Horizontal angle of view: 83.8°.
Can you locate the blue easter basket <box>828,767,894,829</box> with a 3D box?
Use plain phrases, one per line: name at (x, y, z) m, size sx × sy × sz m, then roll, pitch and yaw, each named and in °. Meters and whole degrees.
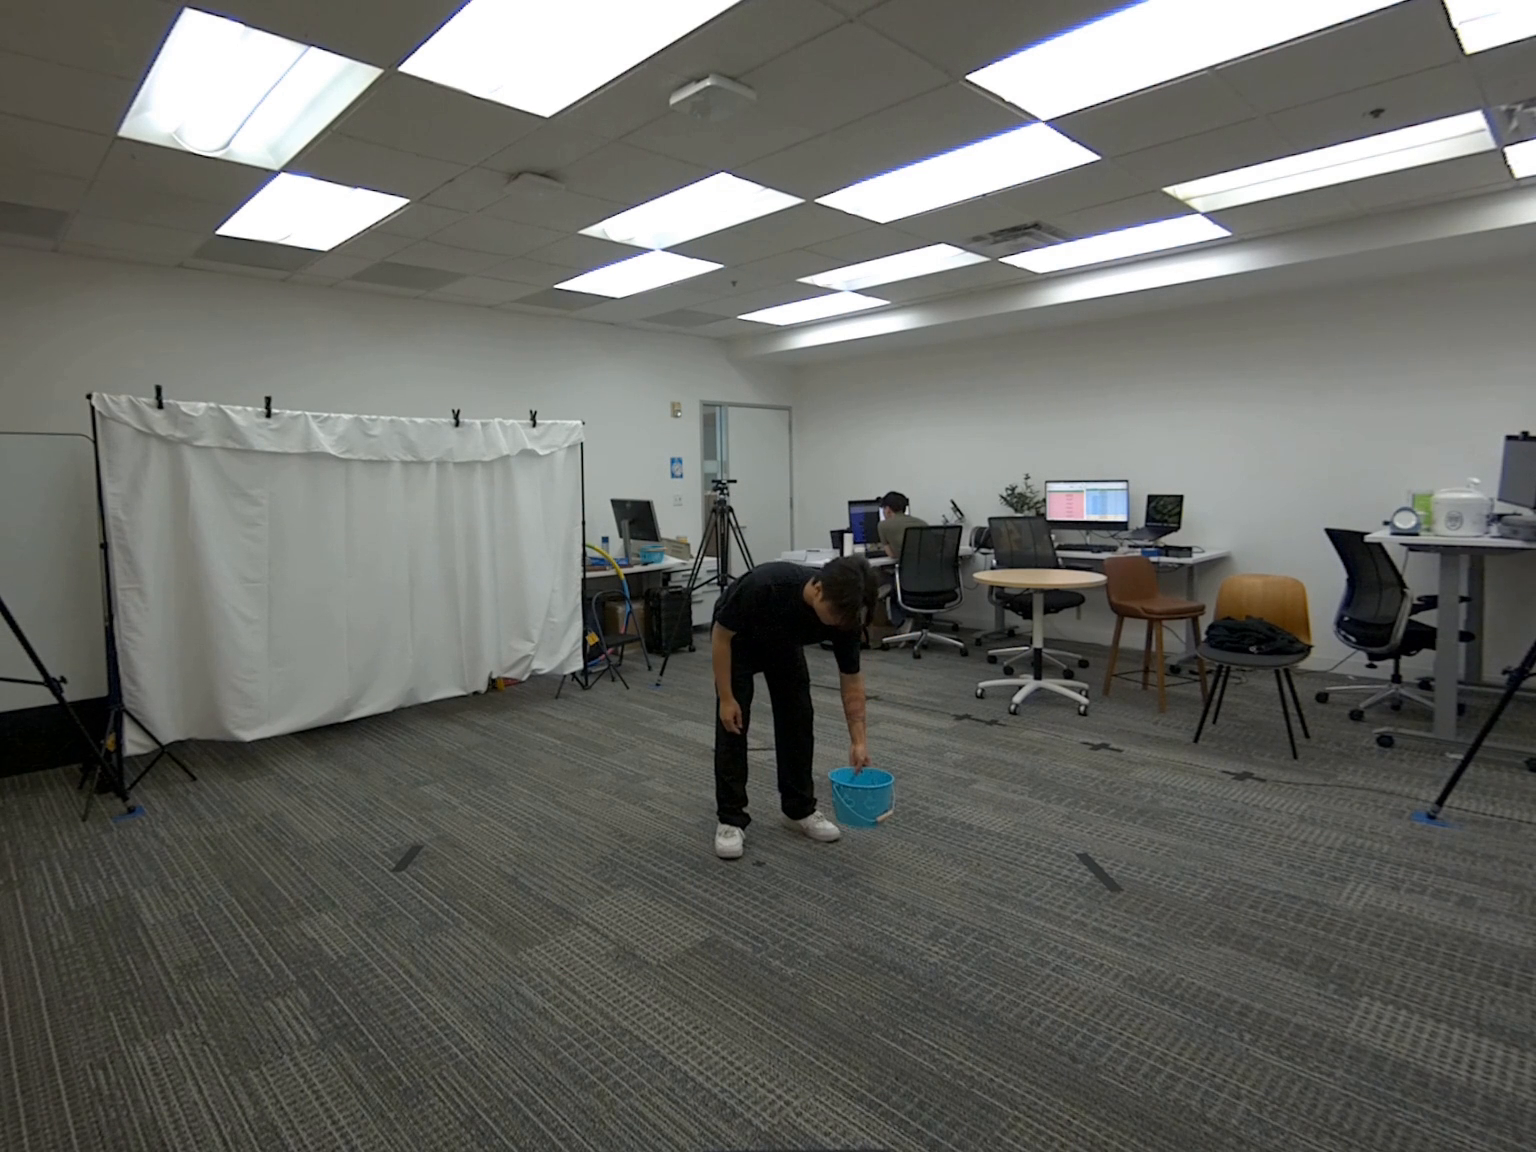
blue easter basket at (0.339, 0.787, 3.022) m, size 0.243 × 0.156 × 0.244 m, roll -2°, pitch 2°, yaw -2°
